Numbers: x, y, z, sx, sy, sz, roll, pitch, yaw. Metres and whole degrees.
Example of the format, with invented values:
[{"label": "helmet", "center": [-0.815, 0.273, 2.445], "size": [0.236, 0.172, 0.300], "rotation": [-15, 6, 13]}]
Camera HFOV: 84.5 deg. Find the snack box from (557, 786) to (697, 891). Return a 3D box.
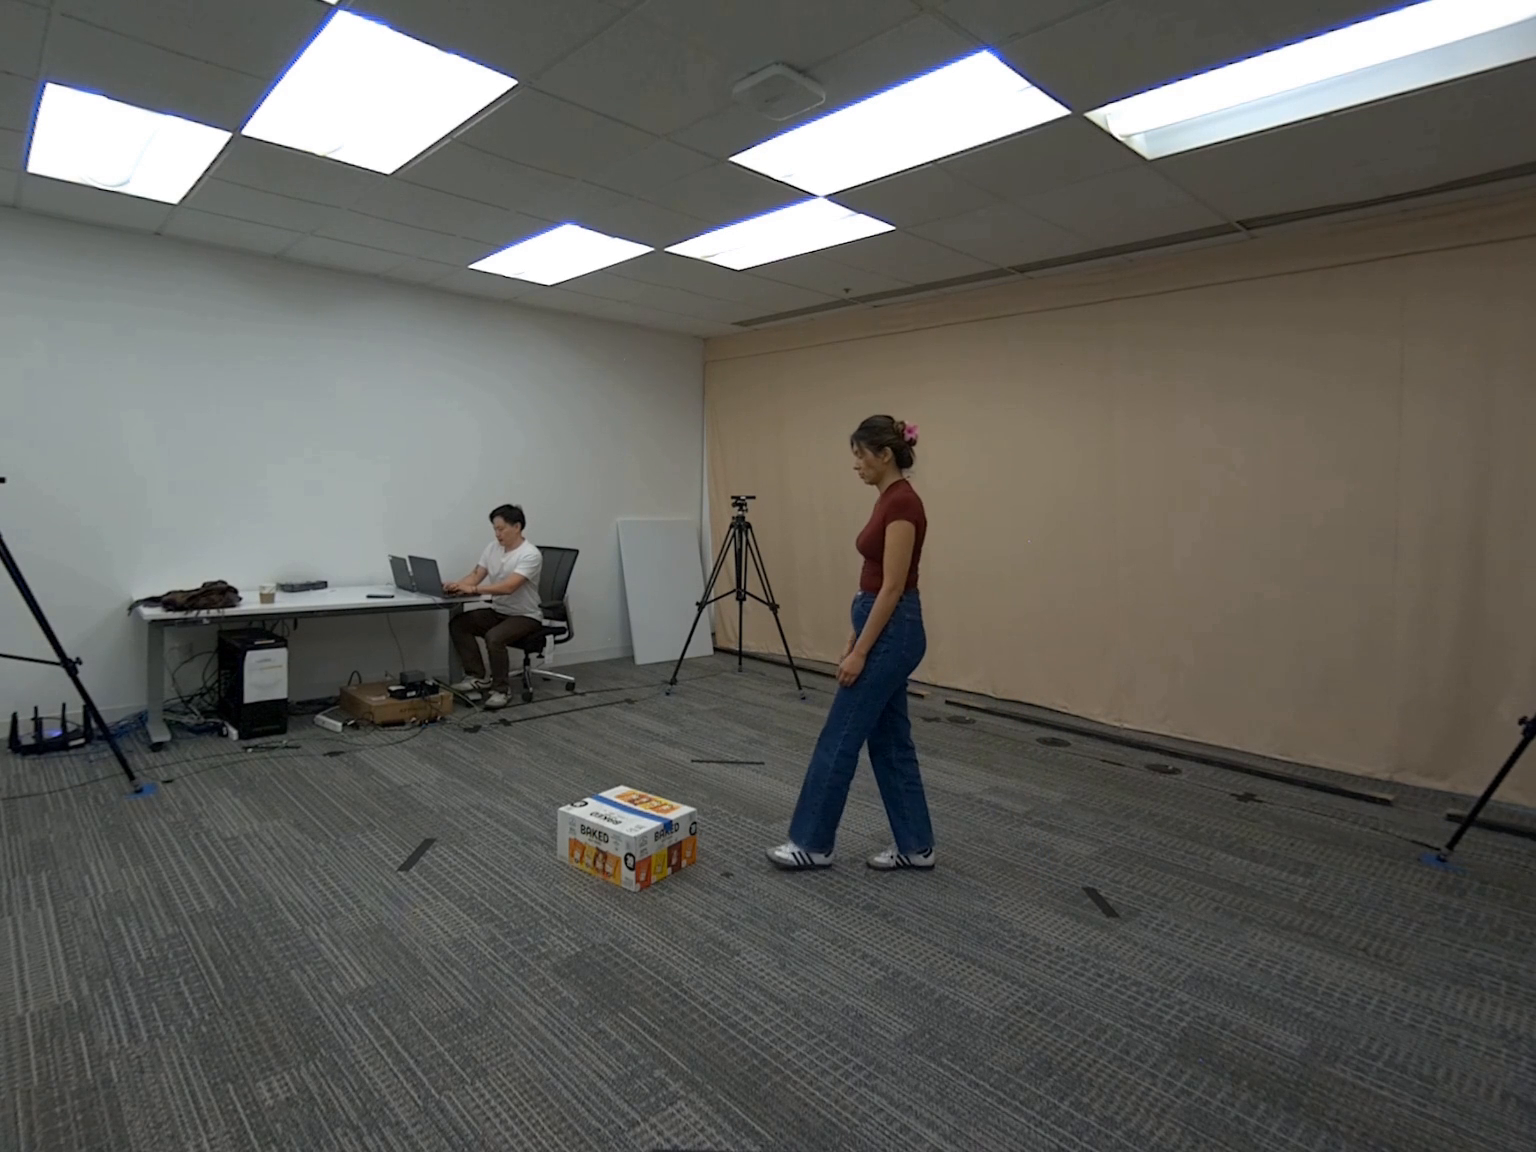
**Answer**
[{"label": "snack box", "center": [-0.538, 0.982, 3.190], "size": [0.415, 0.205, 0.333], "rotation": [5, 6, 36]}]
